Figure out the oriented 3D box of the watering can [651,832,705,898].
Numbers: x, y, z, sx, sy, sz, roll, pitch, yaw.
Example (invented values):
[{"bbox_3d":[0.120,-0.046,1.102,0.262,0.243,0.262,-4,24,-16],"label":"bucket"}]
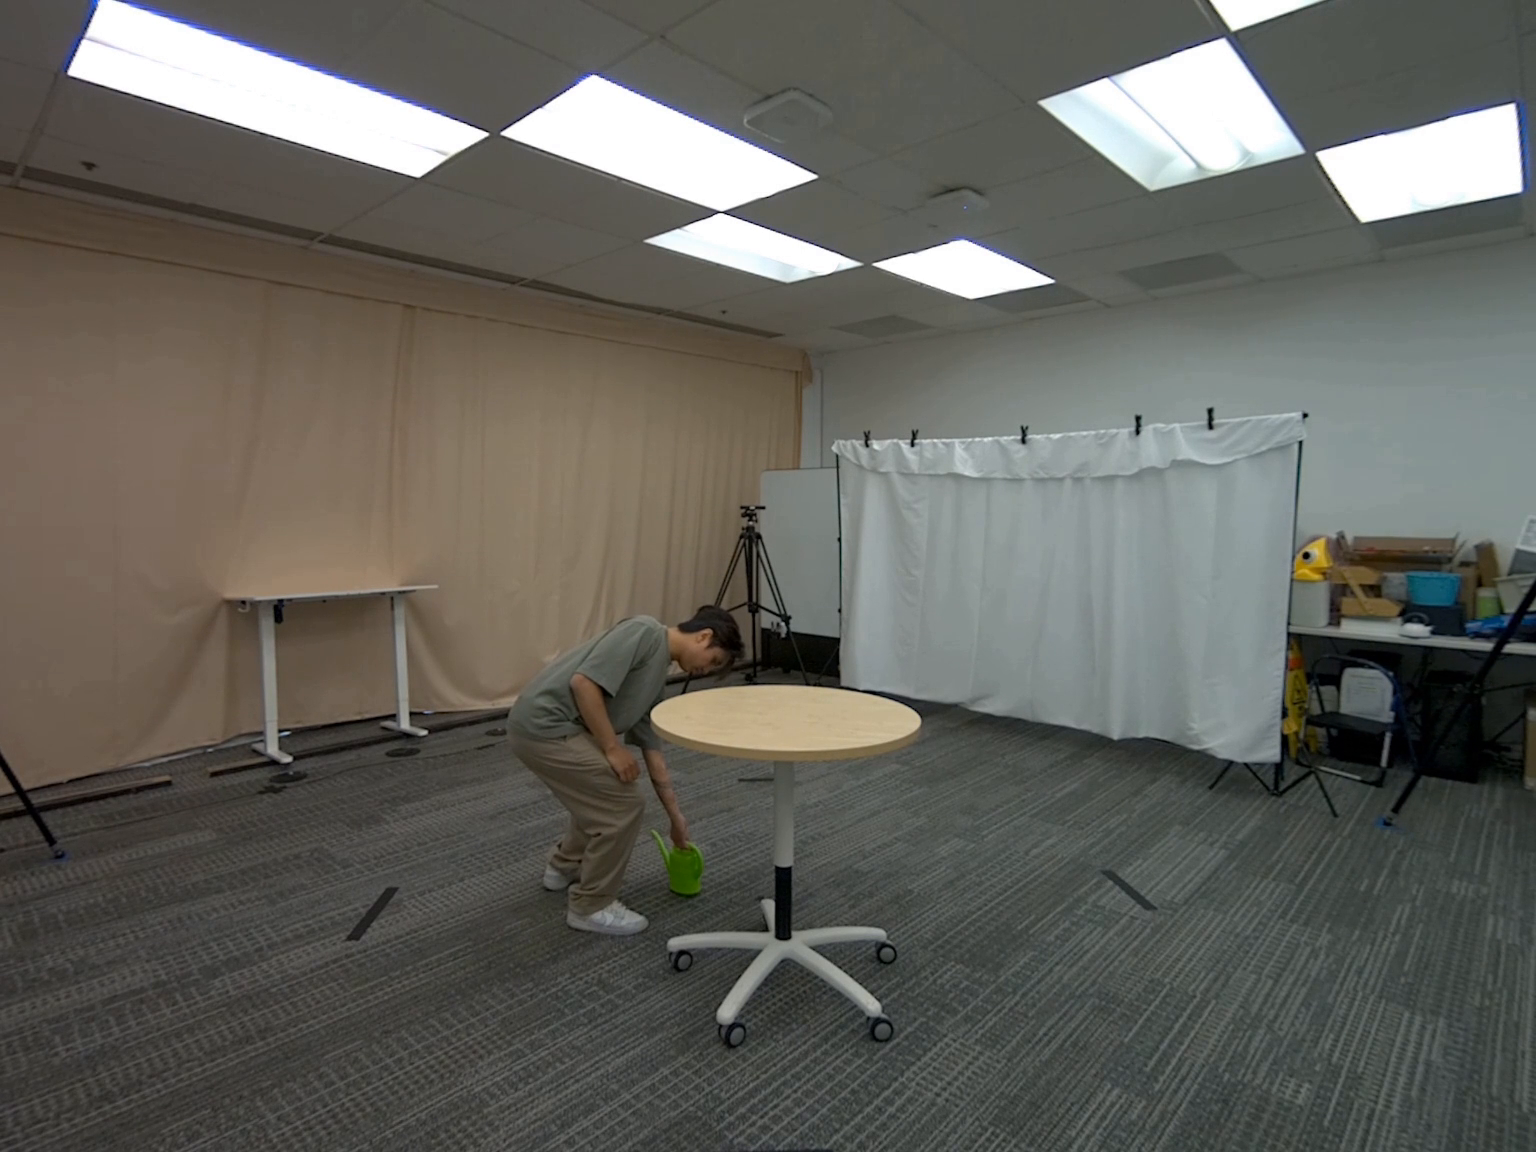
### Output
[{"bbox_3d":[-0.324,1.040,3.081,0.095,0.177,0.287,1,1,-34],"label":"watering can"}]
